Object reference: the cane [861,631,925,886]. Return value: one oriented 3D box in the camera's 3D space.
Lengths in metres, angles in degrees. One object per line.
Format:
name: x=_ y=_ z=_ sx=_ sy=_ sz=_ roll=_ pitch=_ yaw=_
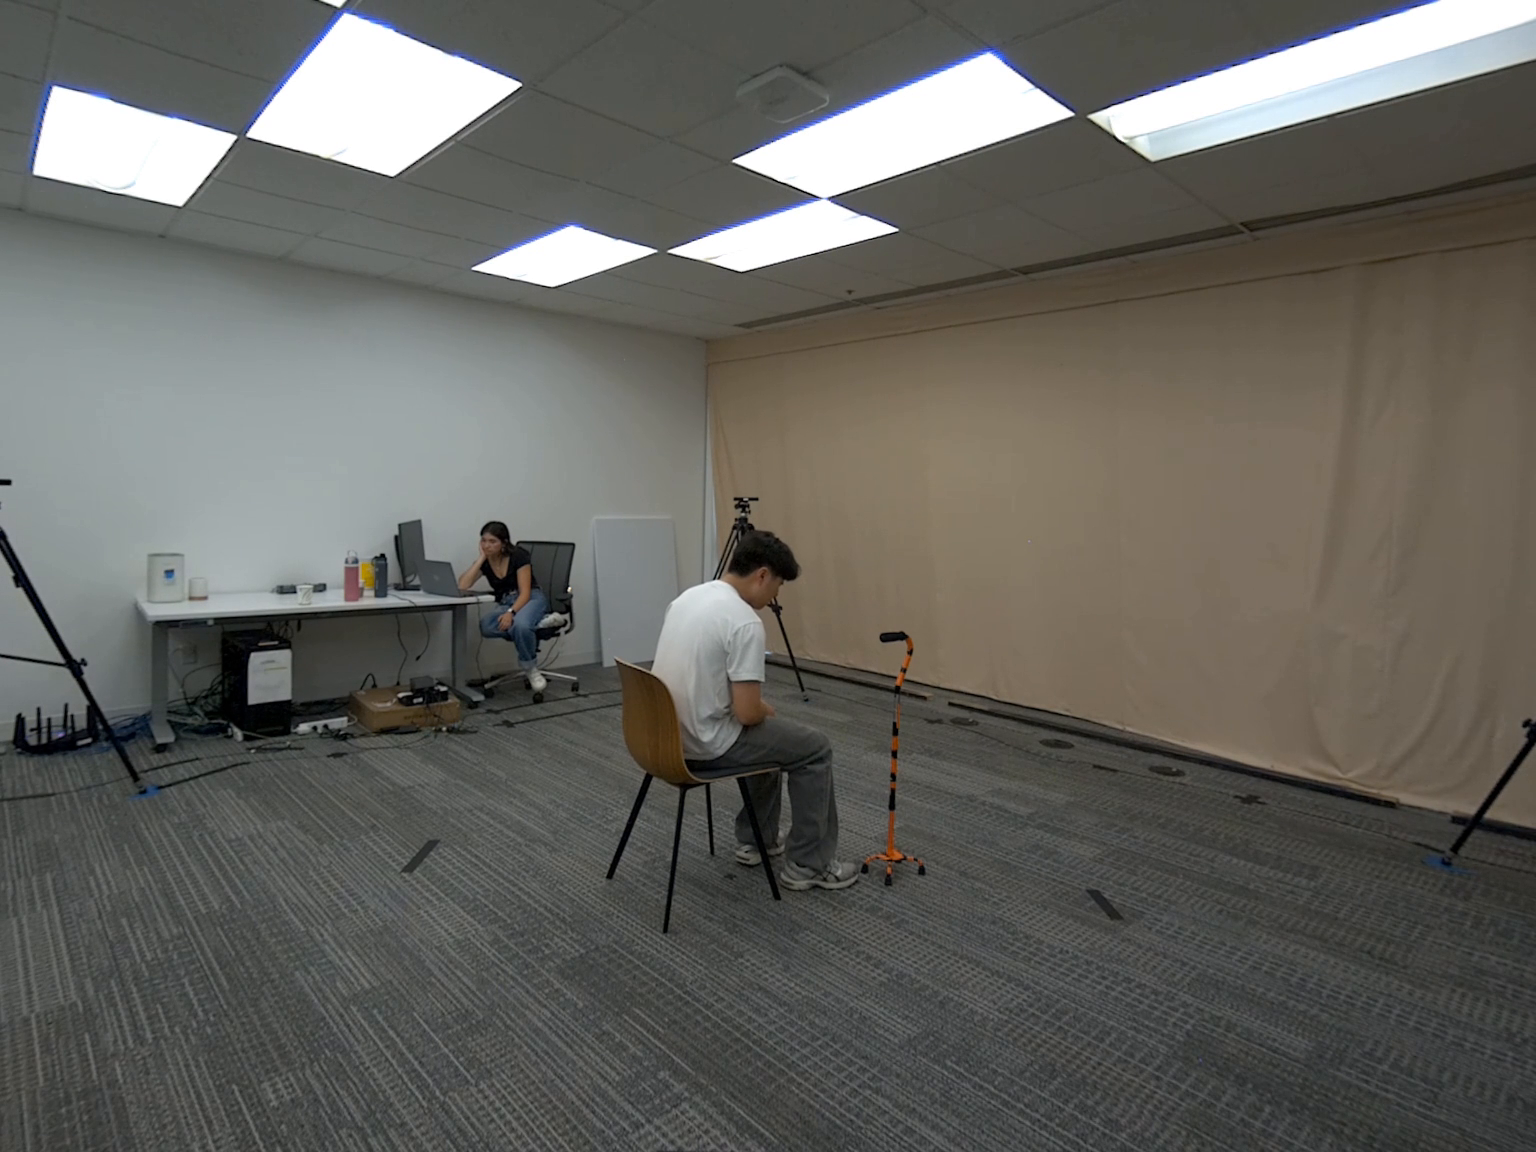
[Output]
cane: x=0.482 y=0.665 z=3.136 sx=0.202 sy=0.906 sz=0.155 roll=0 pitch=3 yaw=-37
